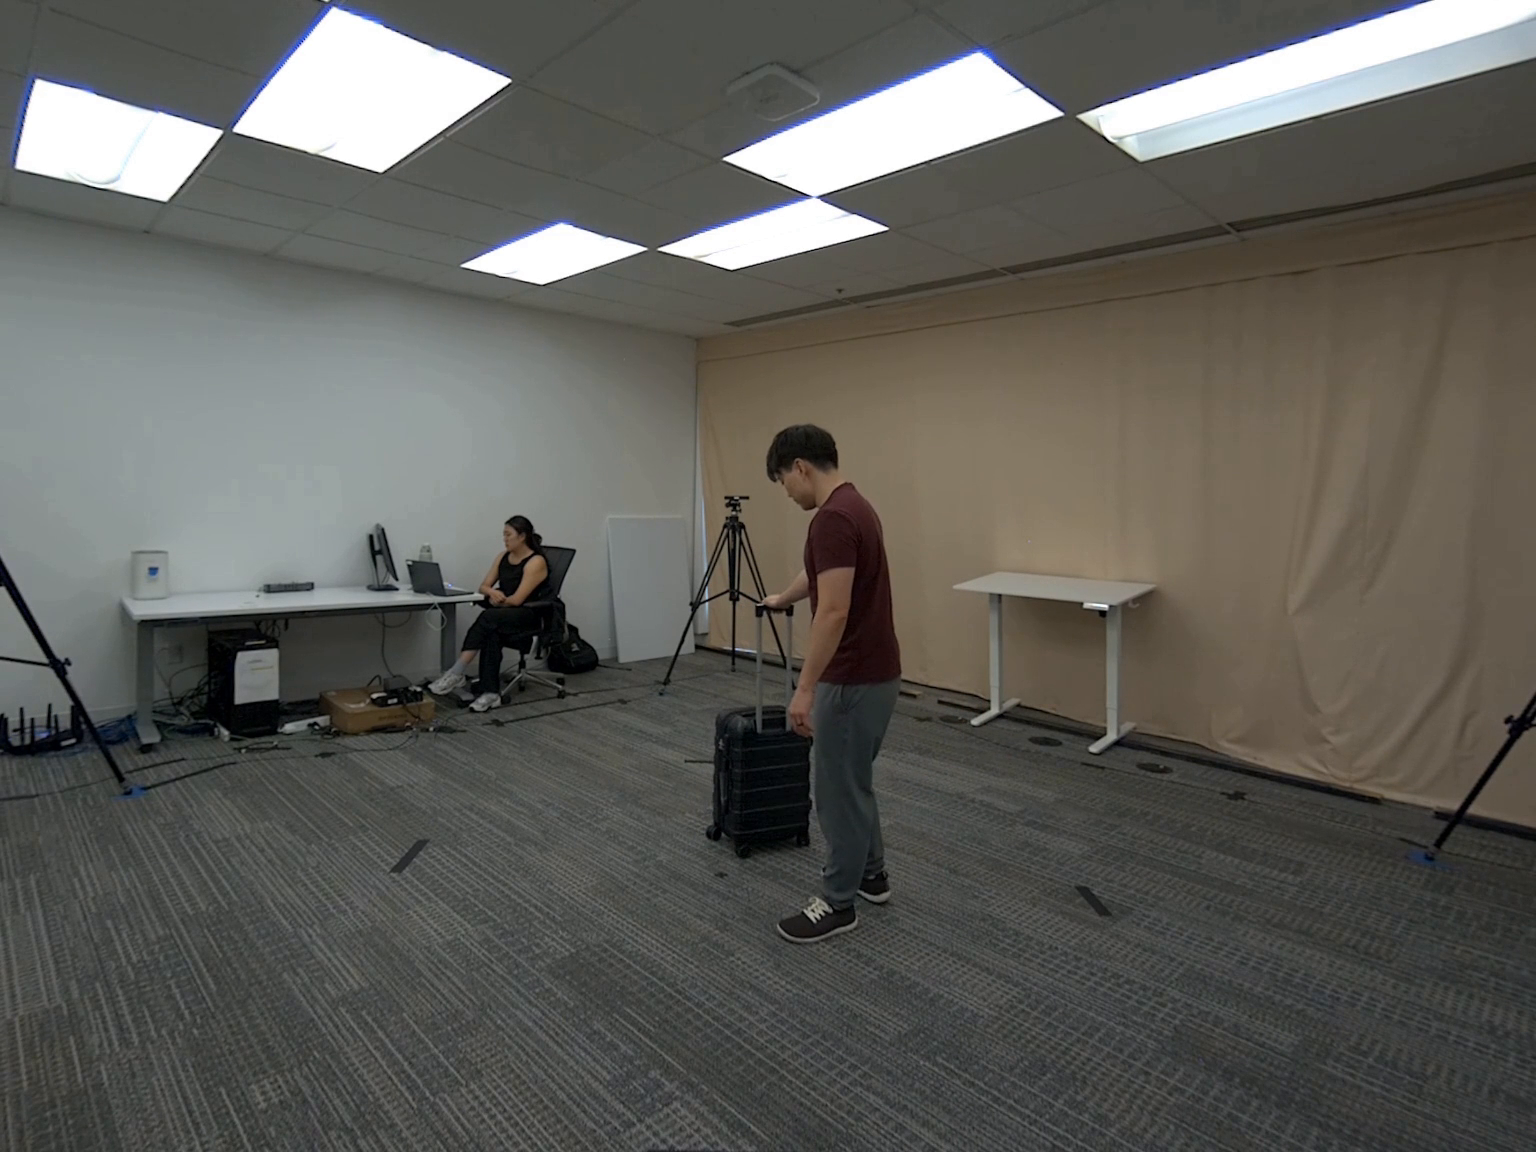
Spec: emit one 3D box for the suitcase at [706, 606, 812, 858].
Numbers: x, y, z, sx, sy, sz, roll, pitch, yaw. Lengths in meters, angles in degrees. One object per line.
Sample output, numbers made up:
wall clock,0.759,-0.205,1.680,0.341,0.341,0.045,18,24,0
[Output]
suitcase,-0.037,0.603,3.393,0.377,0.978,0.261,1,1,-23
